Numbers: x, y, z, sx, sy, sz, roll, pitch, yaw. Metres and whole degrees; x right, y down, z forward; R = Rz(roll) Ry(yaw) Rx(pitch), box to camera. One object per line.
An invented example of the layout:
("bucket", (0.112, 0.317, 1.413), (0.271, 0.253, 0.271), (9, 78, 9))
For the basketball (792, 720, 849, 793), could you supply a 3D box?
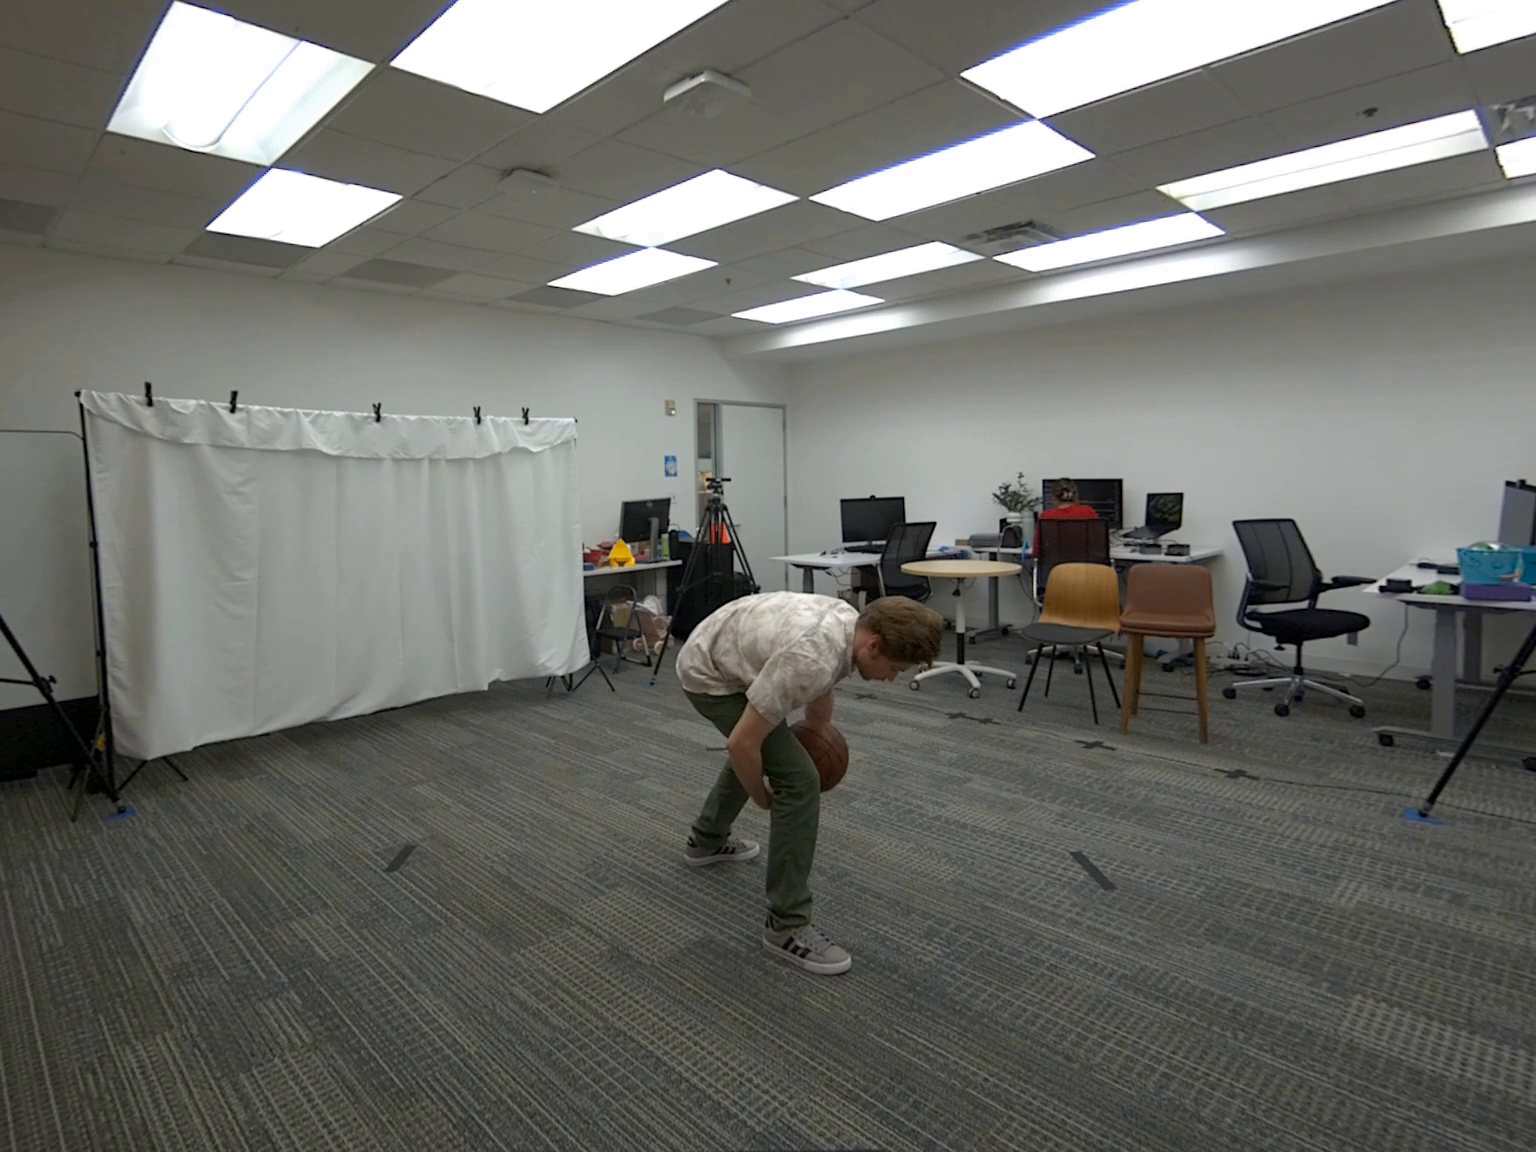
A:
("basketball", (0.142, 0.596, 2.805), (0.236, 0.235, 0.237), (-1, 5, -2))
